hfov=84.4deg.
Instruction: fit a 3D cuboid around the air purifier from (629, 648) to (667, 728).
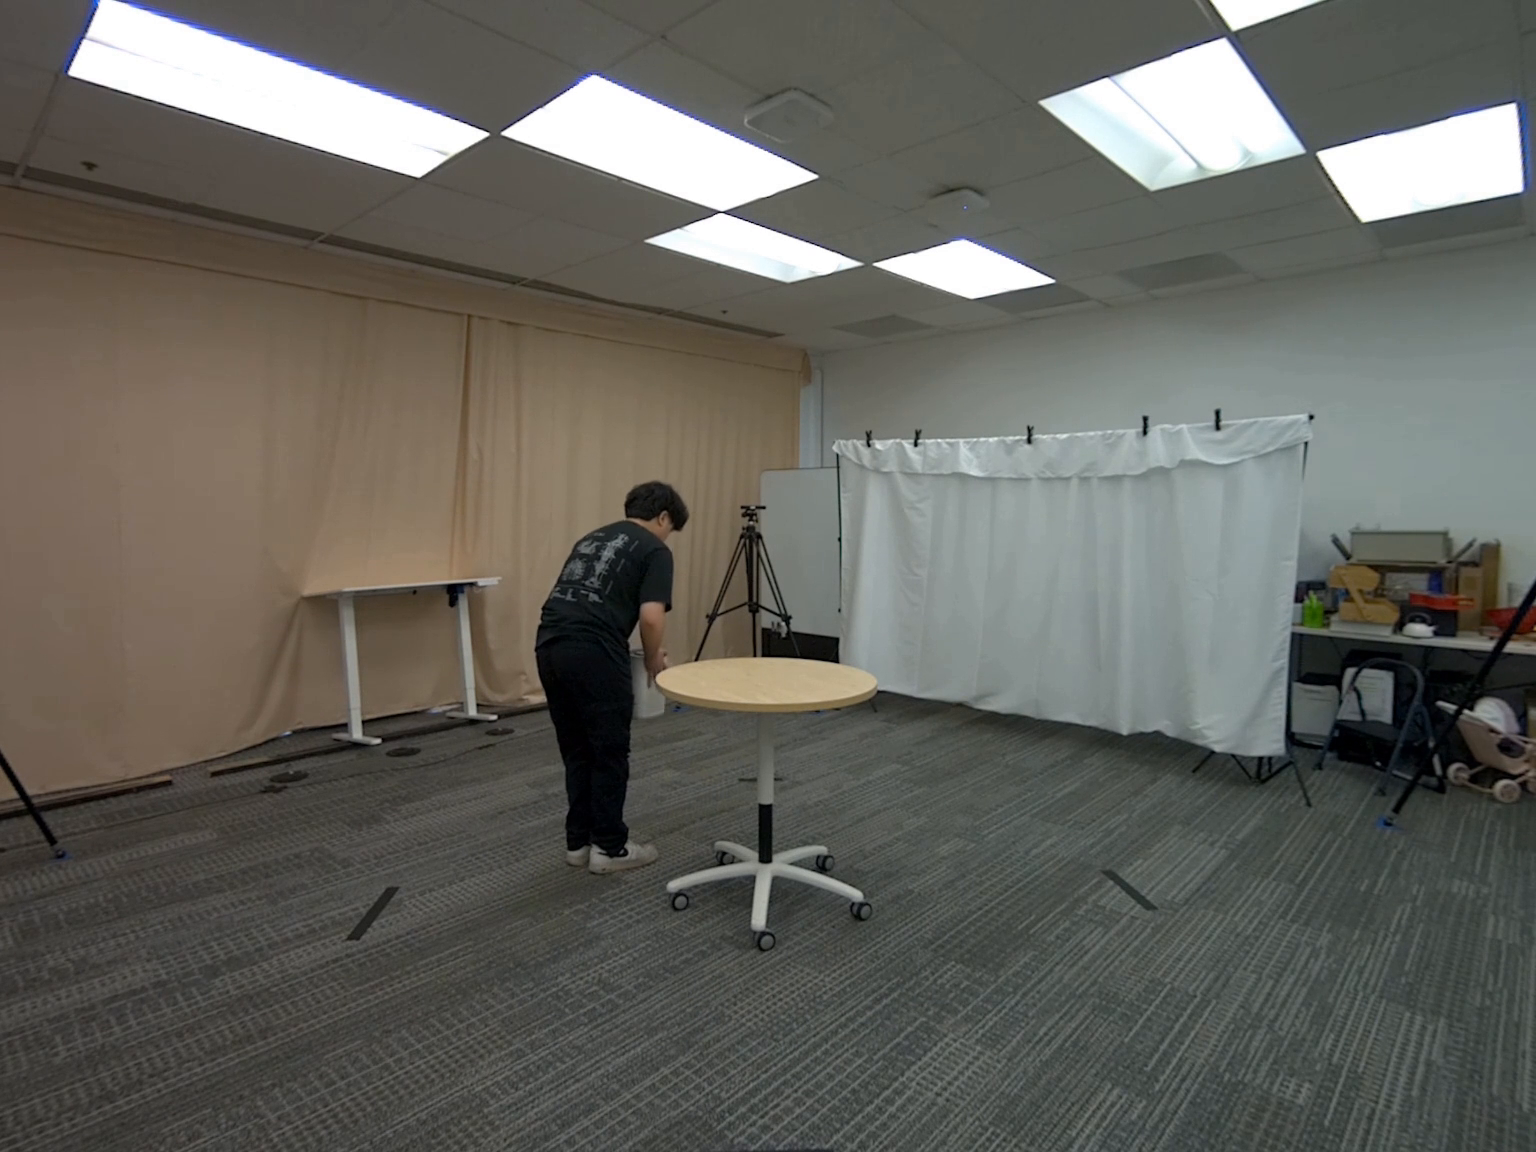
[{"bbox_3d":[-0.544,0.448,3.448,0.177,0.264,0.166,7,7,36],"label":"air purifier"}]
